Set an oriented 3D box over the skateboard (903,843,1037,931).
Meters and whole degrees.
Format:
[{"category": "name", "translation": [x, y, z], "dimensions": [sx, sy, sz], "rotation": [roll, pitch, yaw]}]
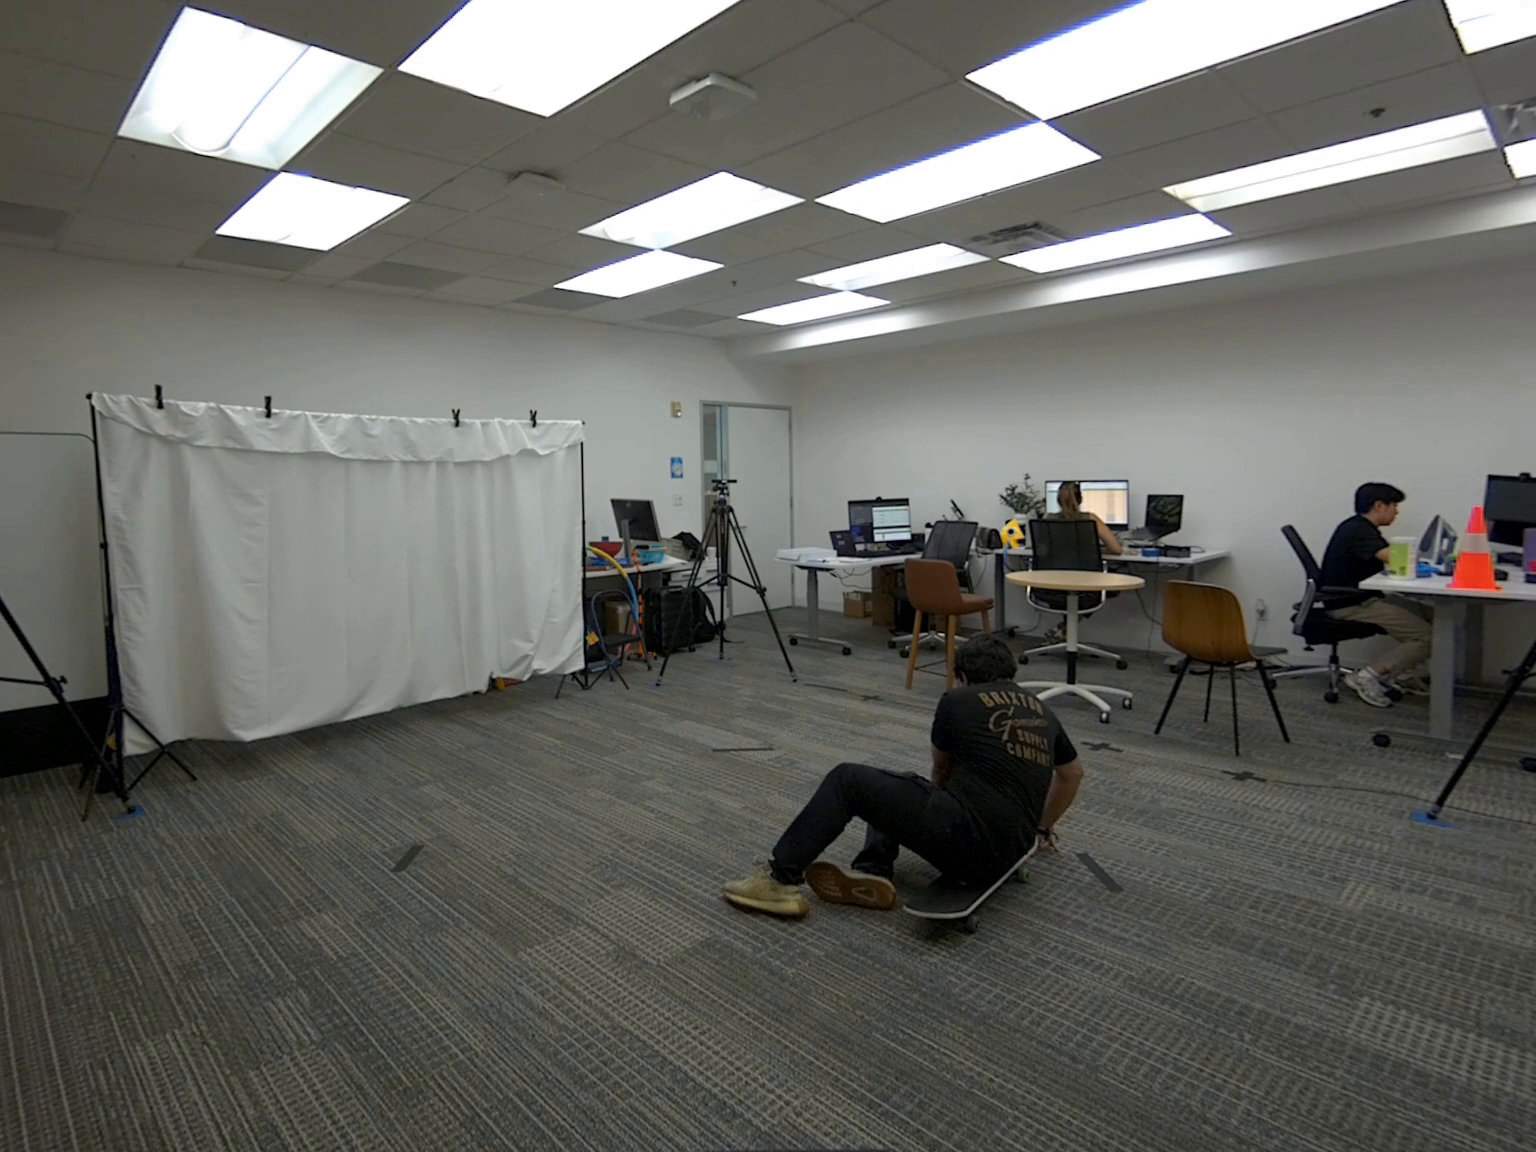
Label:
[{"category": "skateboard", "translation": [0.688, 1.004, 2.823], "dimensions": [0.198, 0.110, 0.765], "rotation": [-6, 1, 39]}]
